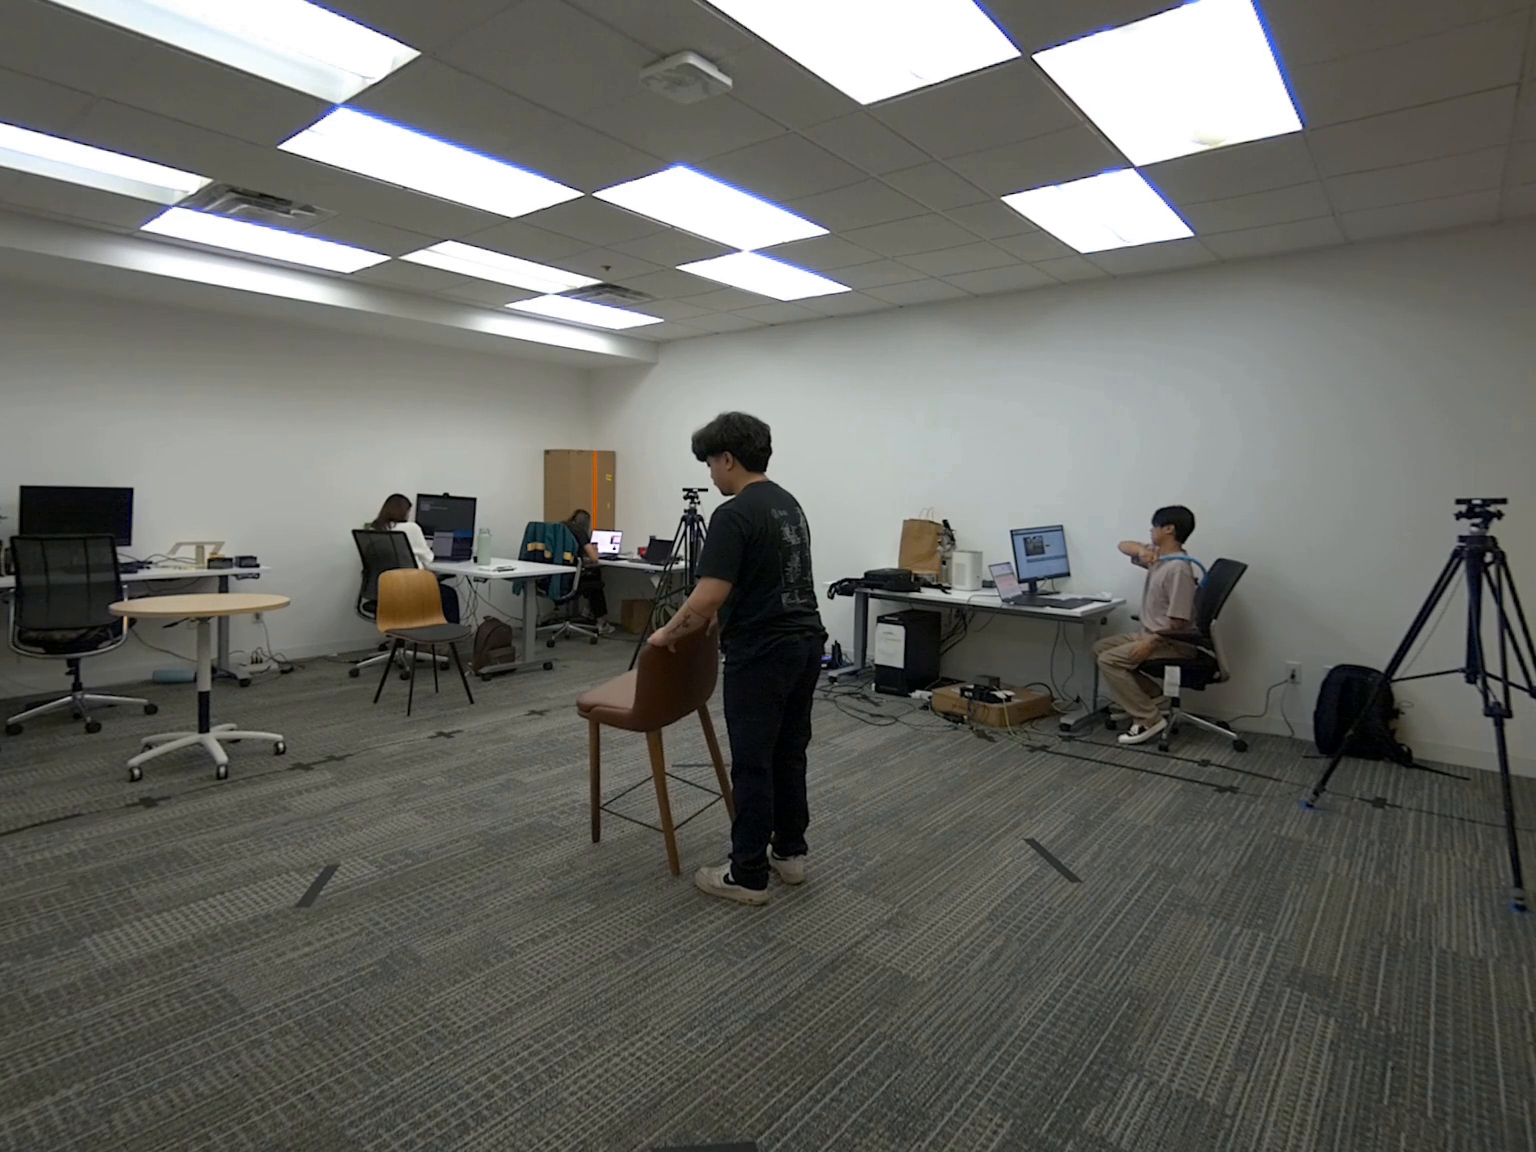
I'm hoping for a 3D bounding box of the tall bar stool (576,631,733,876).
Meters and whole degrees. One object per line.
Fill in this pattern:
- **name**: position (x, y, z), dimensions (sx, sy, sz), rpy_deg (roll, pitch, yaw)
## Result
- **tall bar stool**: position (-0.439, 0.591, 3.246), dimensions (0.484, 0.878, 0.447), rpy_deg (7, 17, 40)
